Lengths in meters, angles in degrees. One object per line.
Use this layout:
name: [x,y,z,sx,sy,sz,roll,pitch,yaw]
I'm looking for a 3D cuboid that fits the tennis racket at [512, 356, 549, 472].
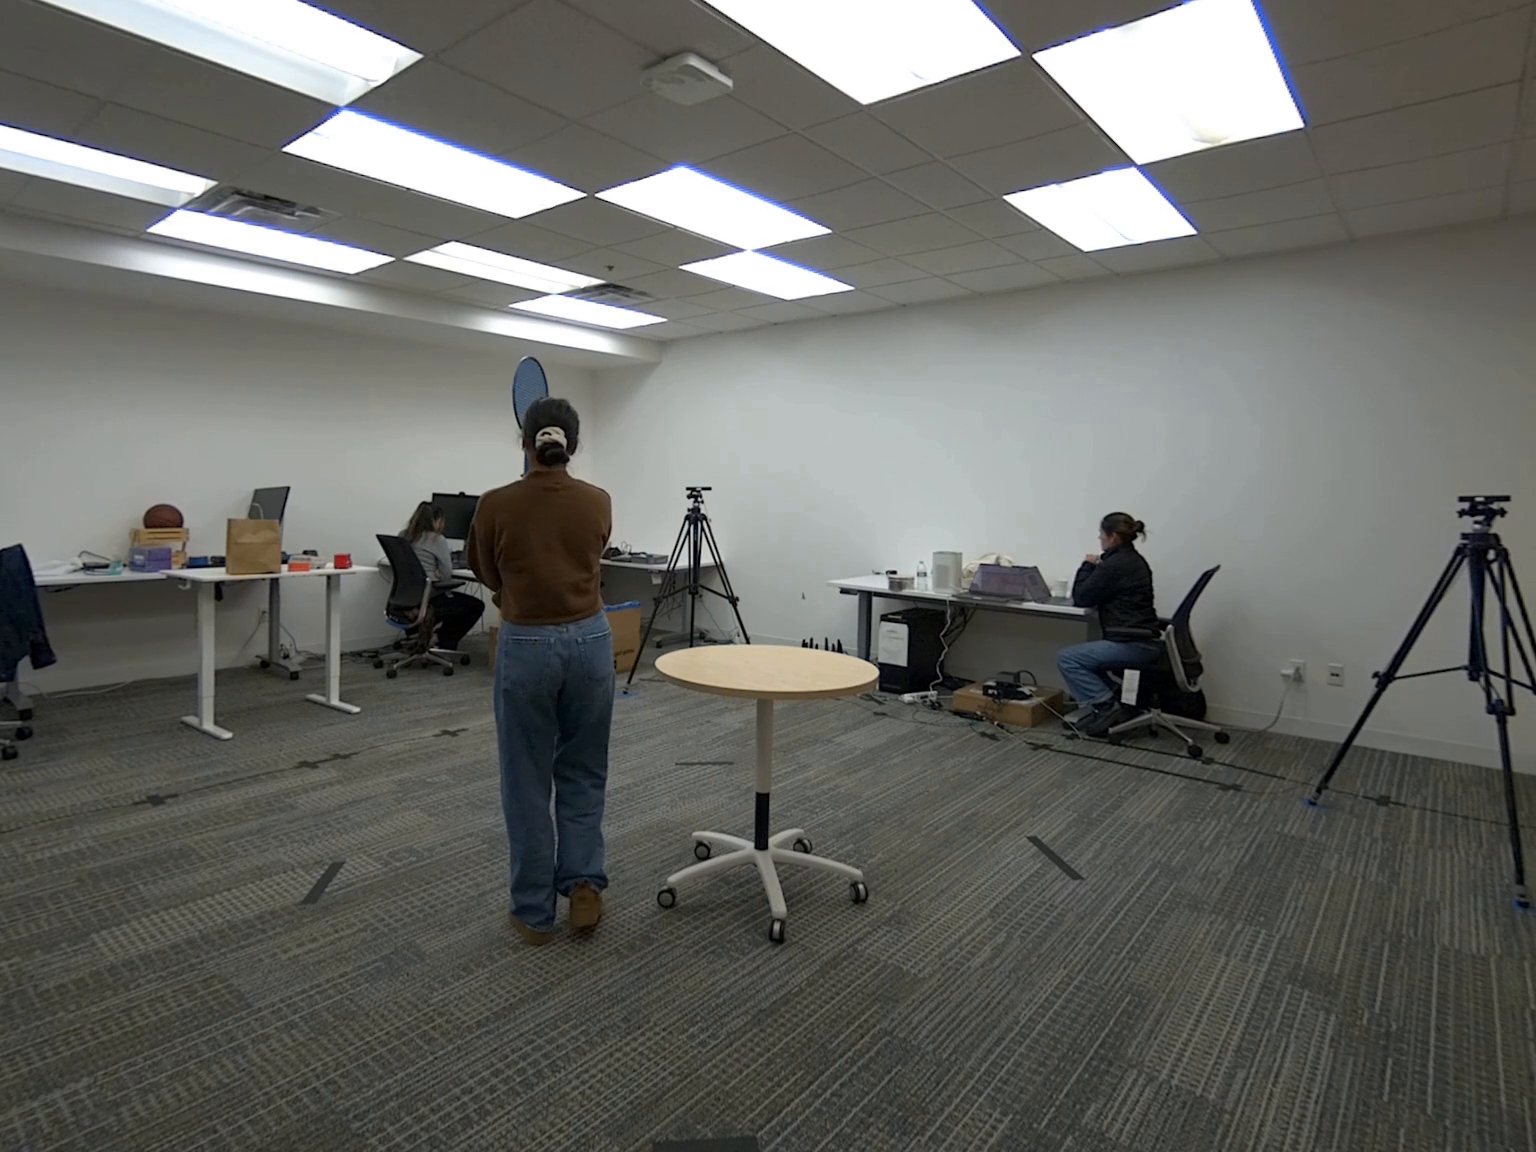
tennis racket: [-0.781,-0.505,2.764,0.032,0.435,0.208,-1,-6,16]
